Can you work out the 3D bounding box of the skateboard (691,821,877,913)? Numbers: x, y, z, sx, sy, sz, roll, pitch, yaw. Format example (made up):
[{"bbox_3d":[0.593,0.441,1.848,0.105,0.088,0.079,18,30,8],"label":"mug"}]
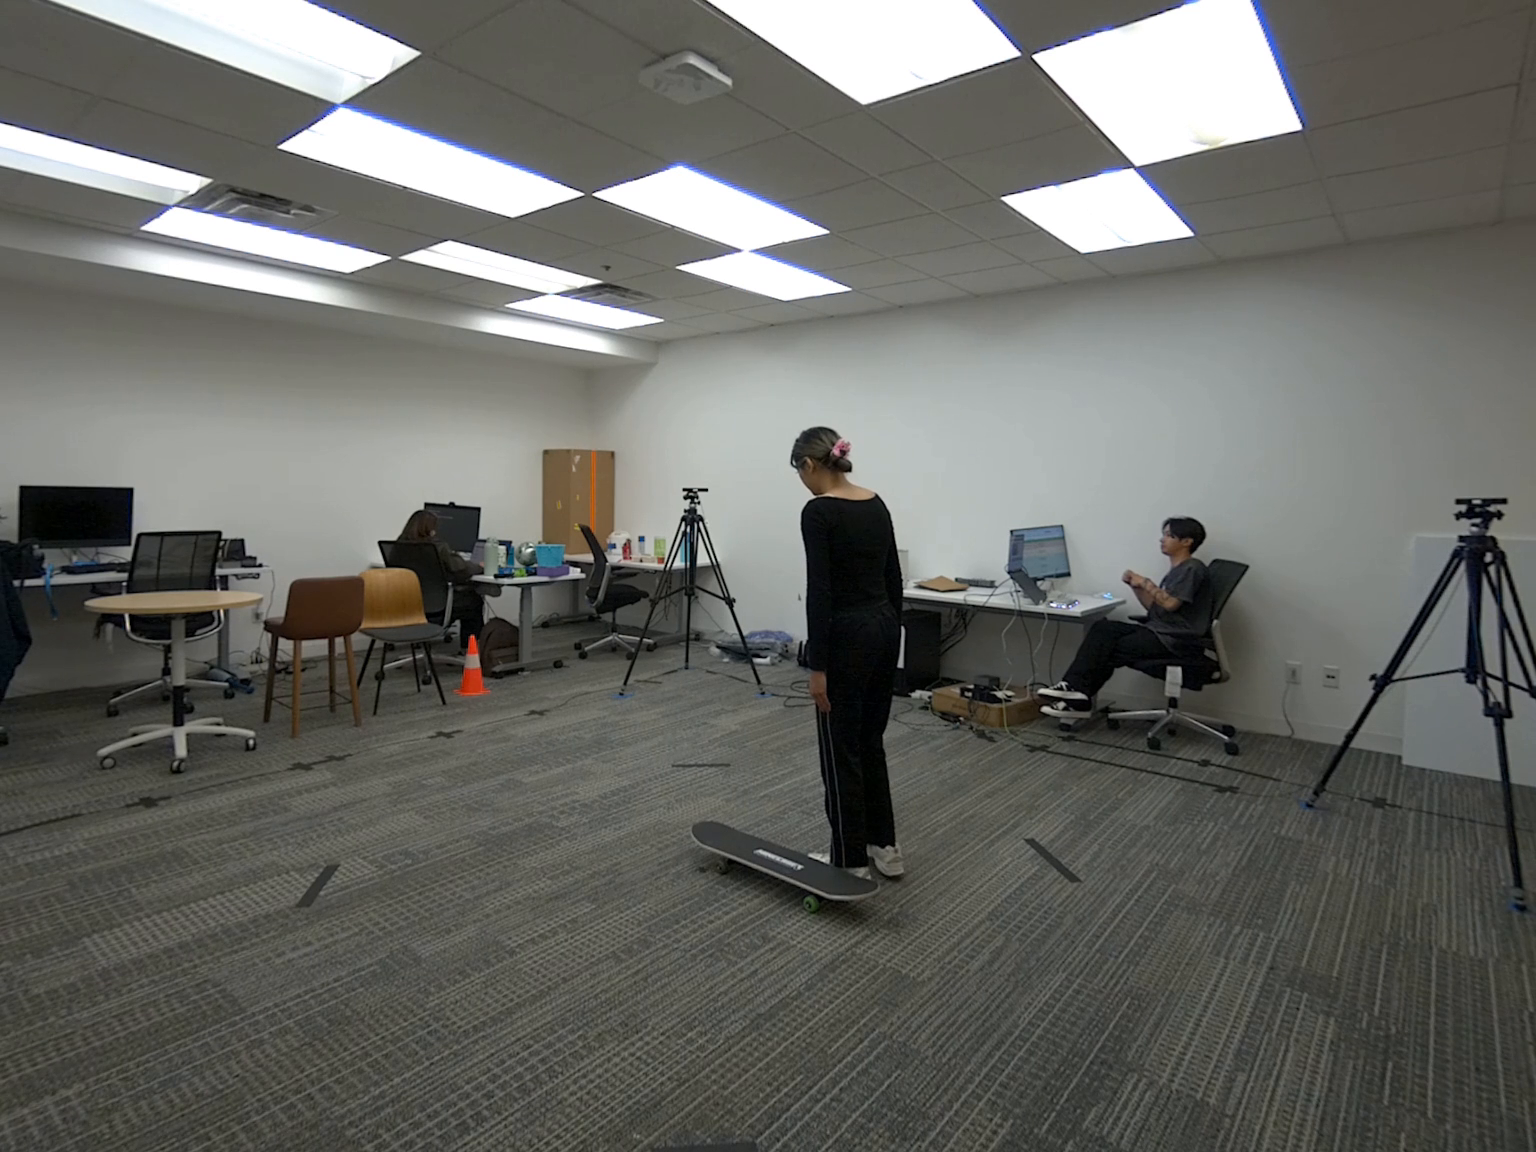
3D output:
[{"bbox_3d":[0.029,1.030,2.999,0.812,0.110,0.188,6,7,40],"label":"skateboard"}]
